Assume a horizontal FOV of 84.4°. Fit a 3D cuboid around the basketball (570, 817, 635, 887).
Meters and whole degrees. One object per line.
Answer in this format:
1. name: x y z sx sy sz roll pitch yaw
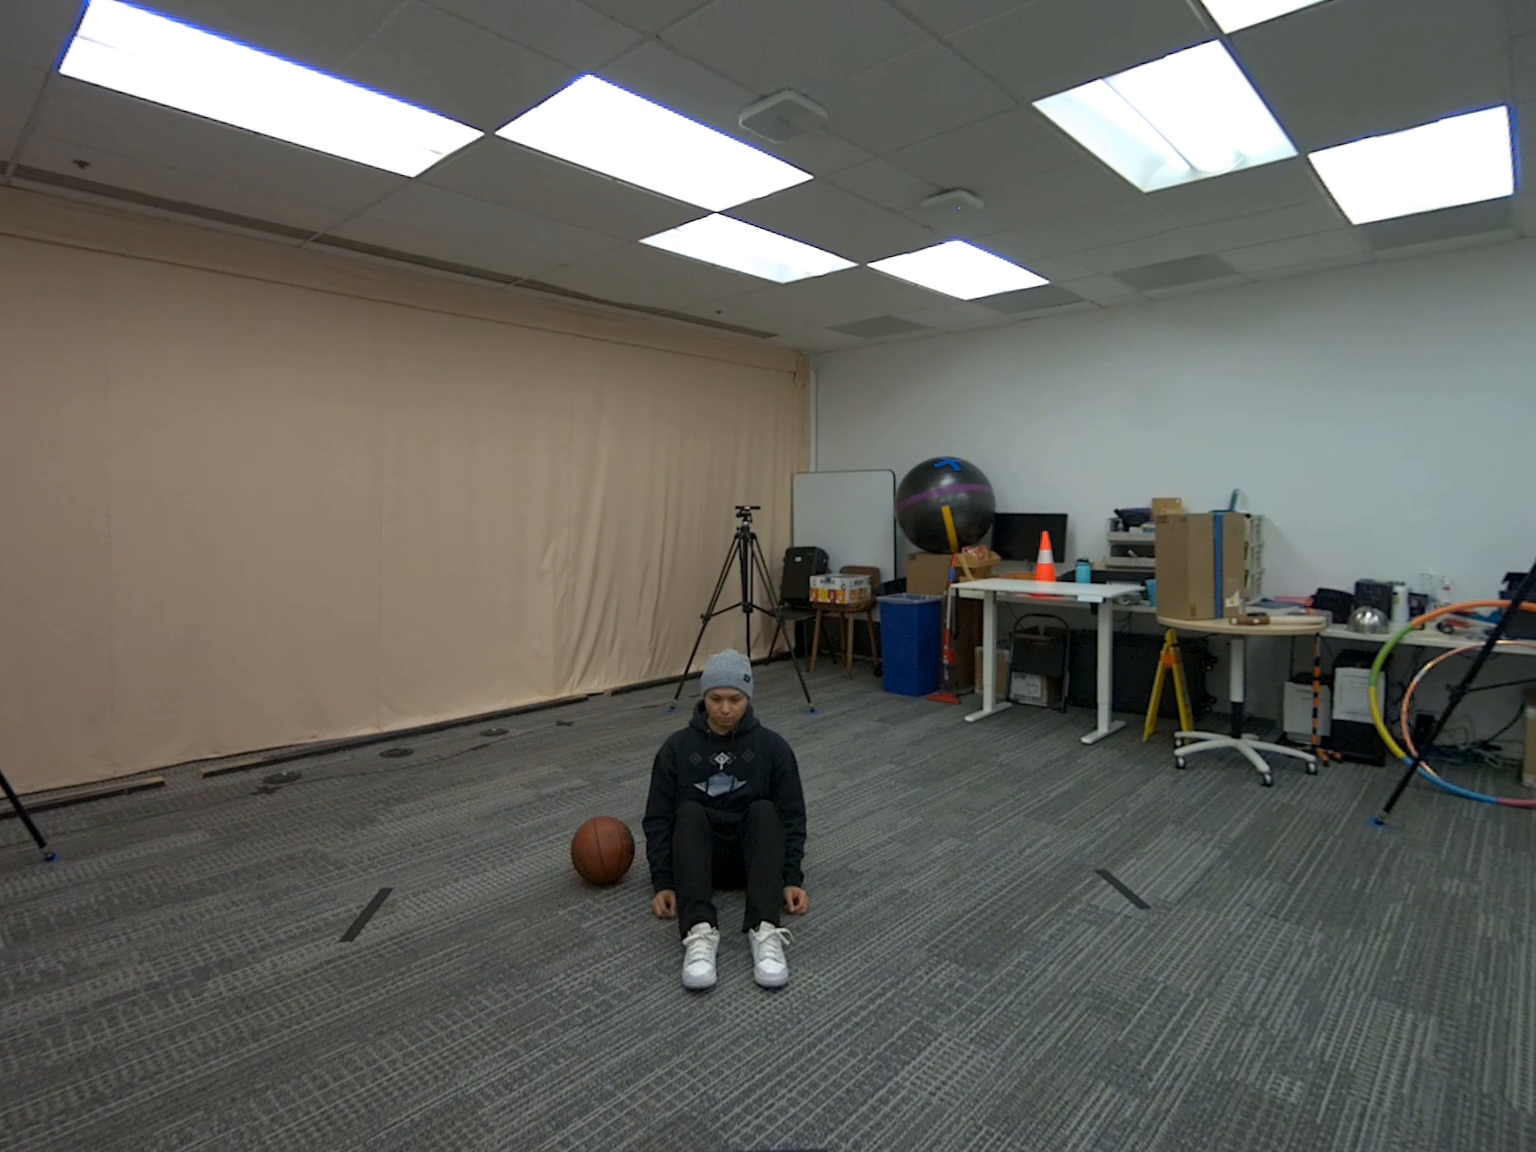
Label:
1. basketball: -0.613 1.018 3.138 0.236 0.235 0.237 0 4 -2
